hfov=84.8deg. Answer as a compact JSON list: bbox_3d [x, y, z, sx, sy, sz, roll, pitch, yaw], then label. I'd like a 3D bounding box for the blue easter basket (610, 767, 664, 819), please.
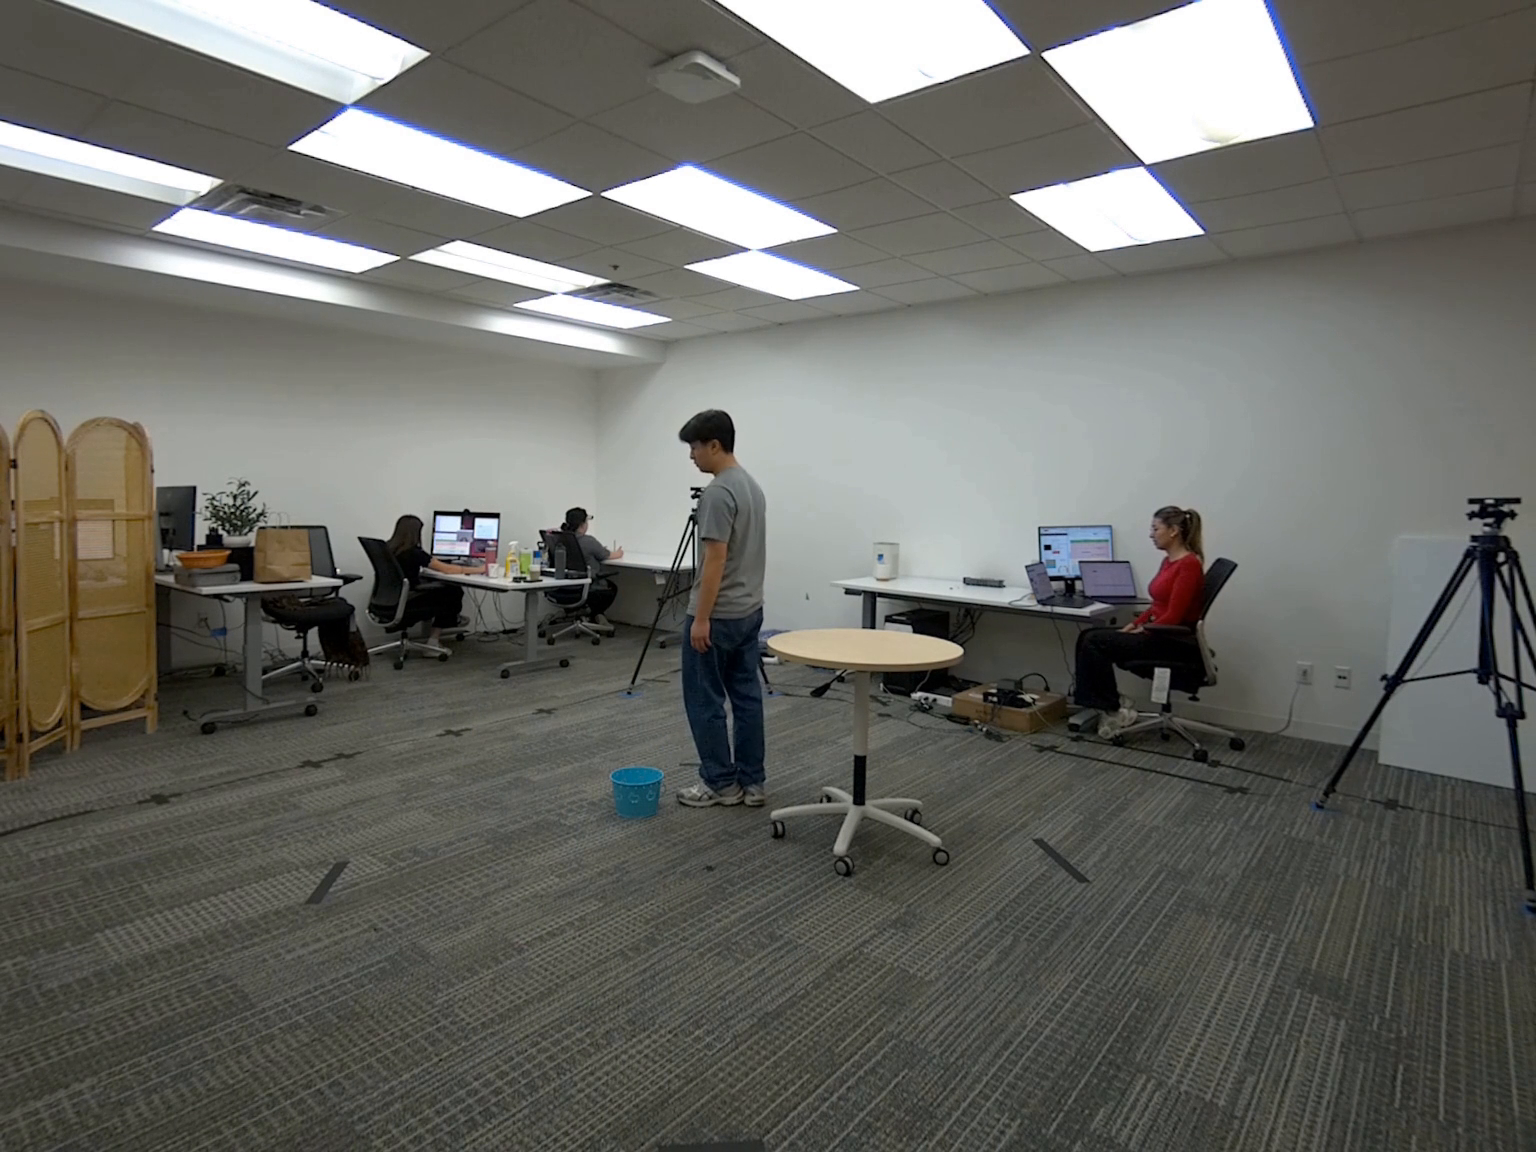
[{"bbox_3d":[-0.570,0.928,3.665,0.243,0.155,0.245,0,5,-2],"label":"blue easter basket"}]
